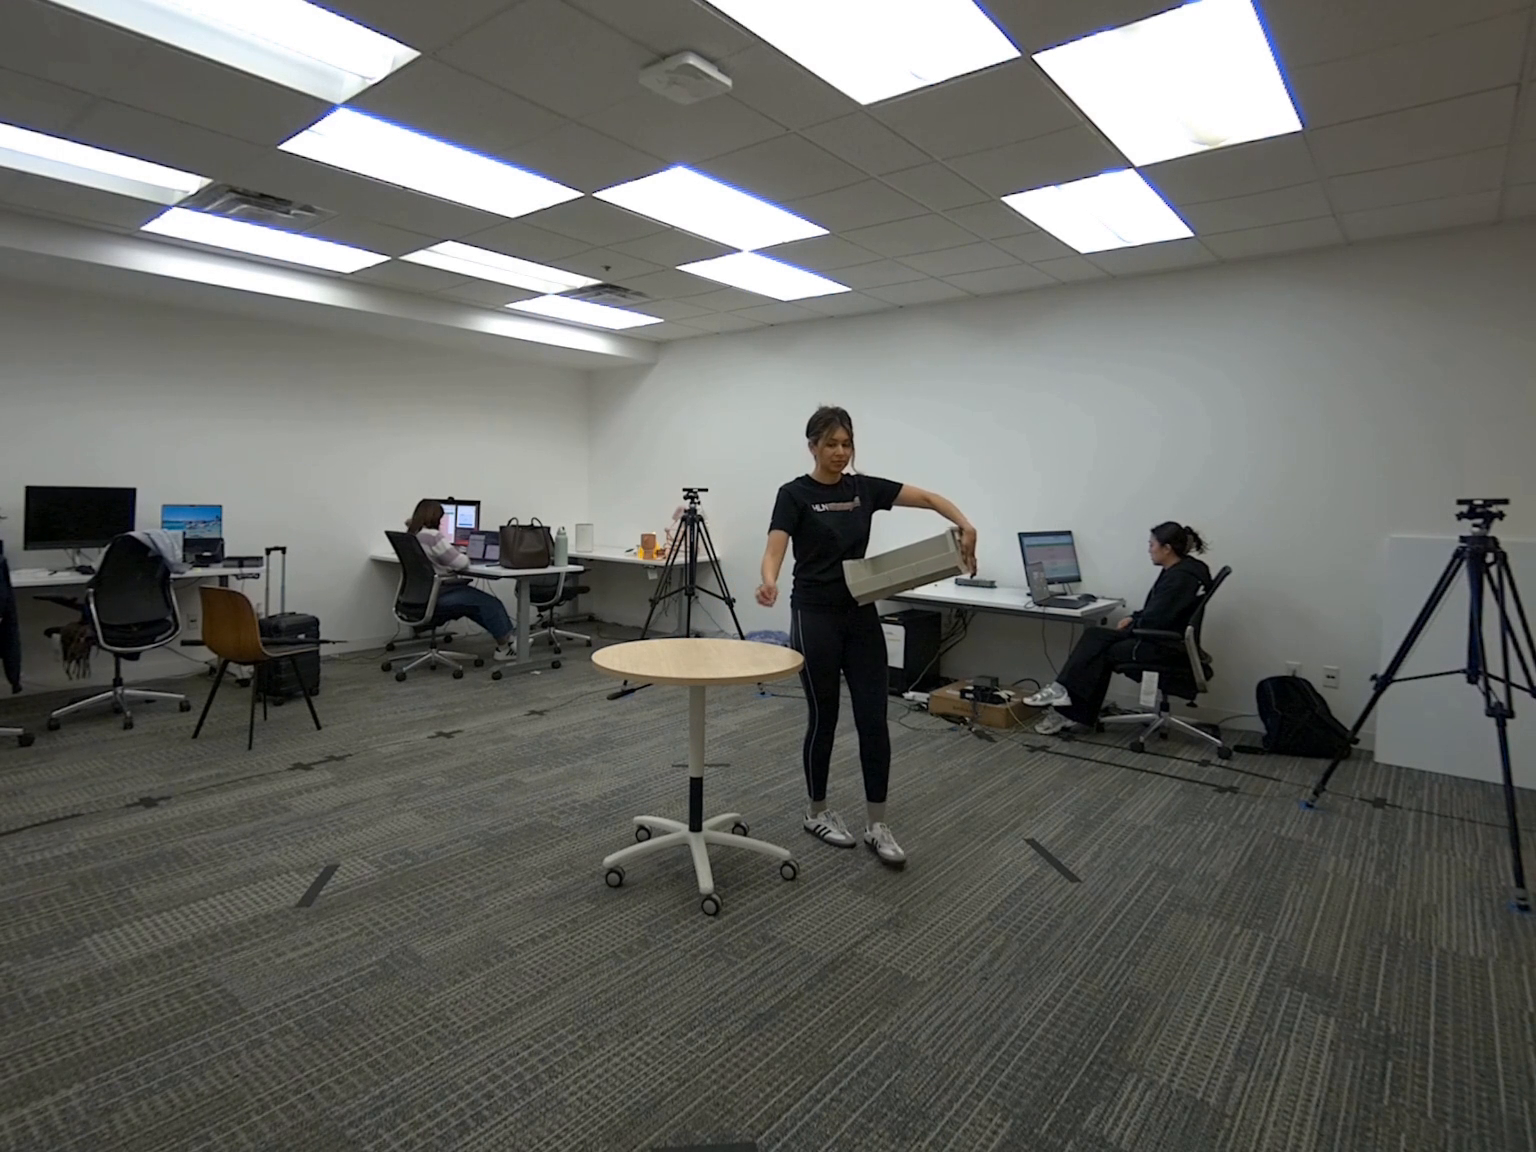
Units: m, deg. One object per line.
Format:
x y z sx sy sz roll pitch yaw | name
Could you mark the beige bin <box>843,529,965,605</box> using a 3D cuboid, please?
0.540 -0.036 3.248 0.429 0.191 0.368 -19 -6 24 | beige bin
